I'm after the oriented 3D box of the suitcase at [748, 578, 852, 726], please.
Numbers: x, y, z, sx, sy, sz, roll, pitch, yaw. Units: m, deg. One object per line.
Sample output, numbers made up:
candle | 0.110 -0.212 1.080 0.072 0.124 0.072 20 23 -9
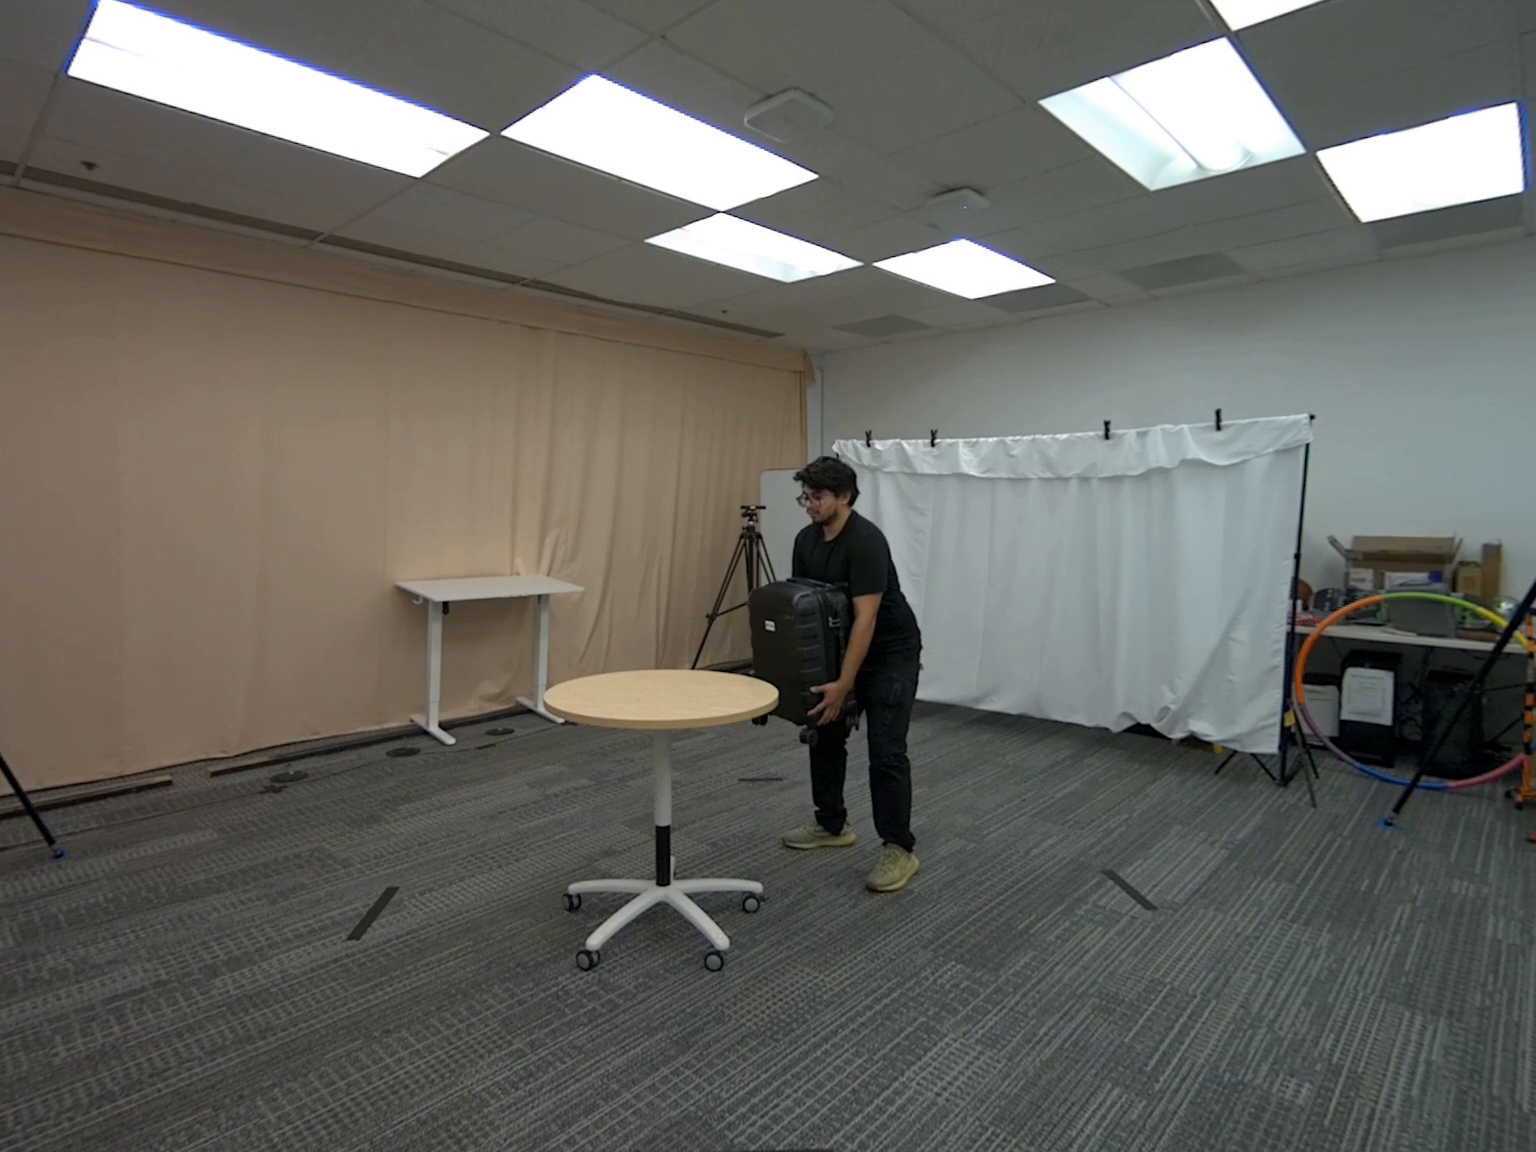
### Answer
suitcase | 0.122 0.301 3.137 0.242 0.547 0.387 -8 8 -35
